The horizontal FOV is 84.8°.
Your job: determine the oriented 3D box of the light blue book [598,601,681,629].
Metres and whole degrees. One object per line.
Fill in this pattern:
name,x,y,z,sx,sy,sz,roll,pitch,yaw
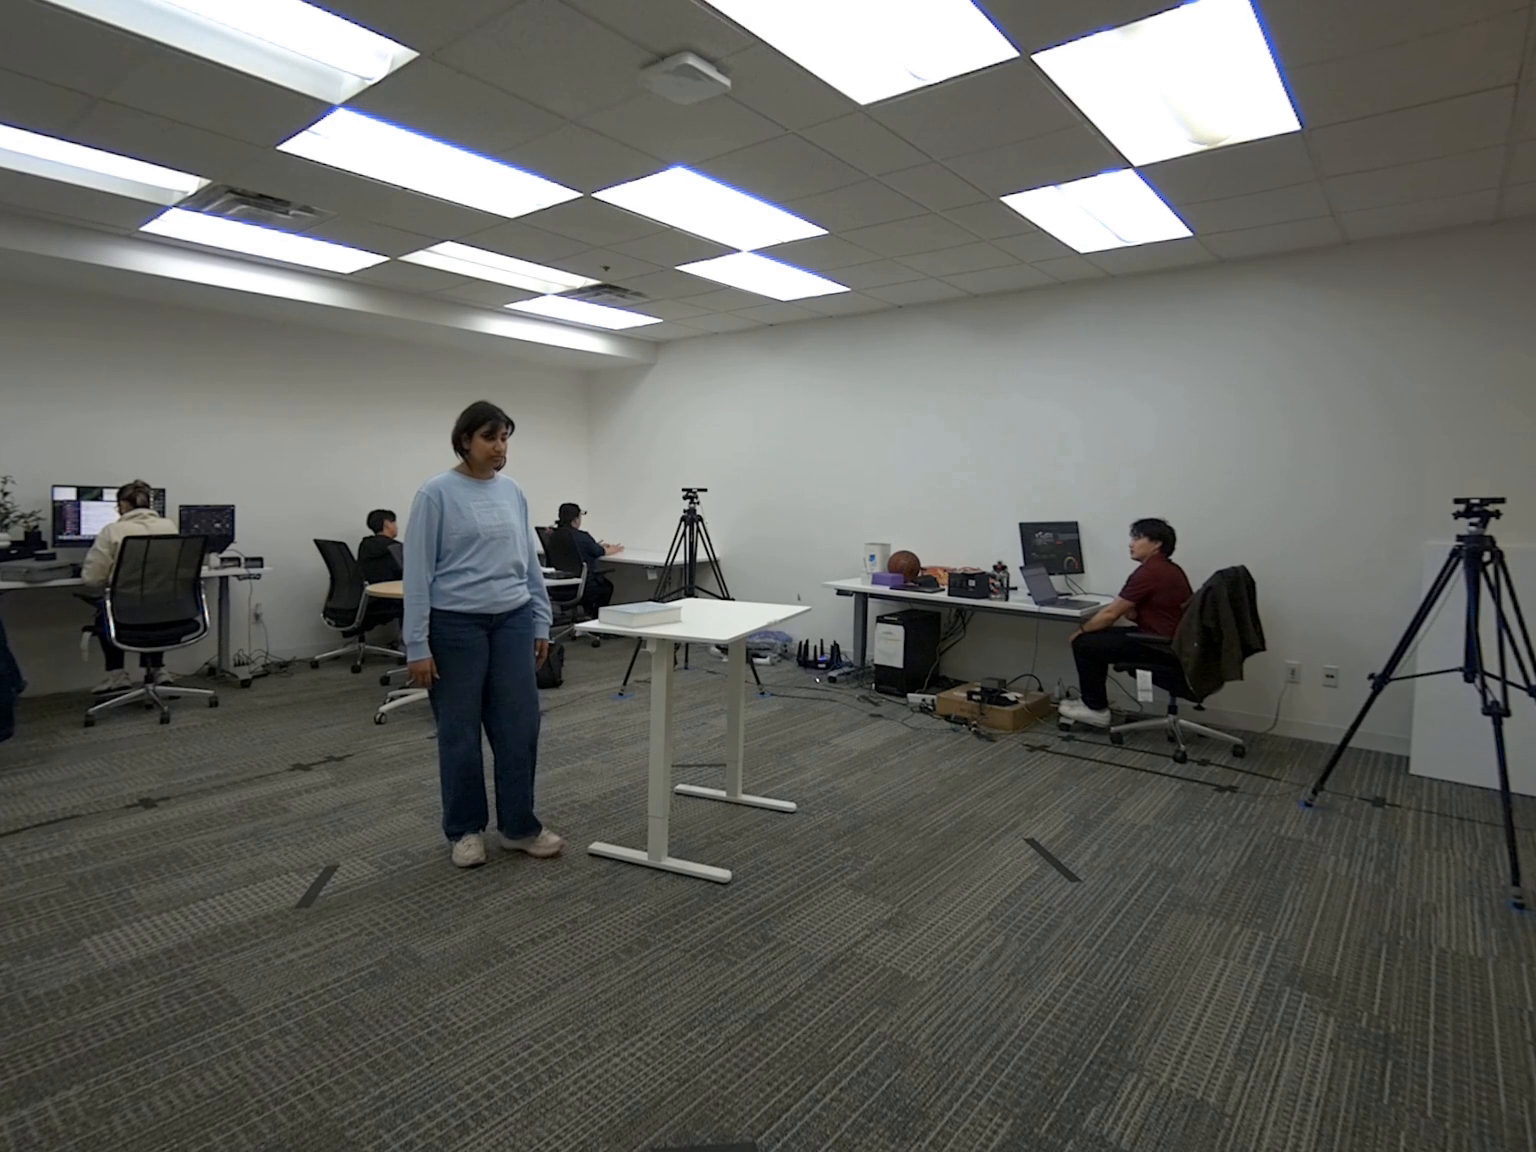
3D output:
light blue book,-0.484,0.144,3.210,0.198,0.059,0.253,5,7,39
